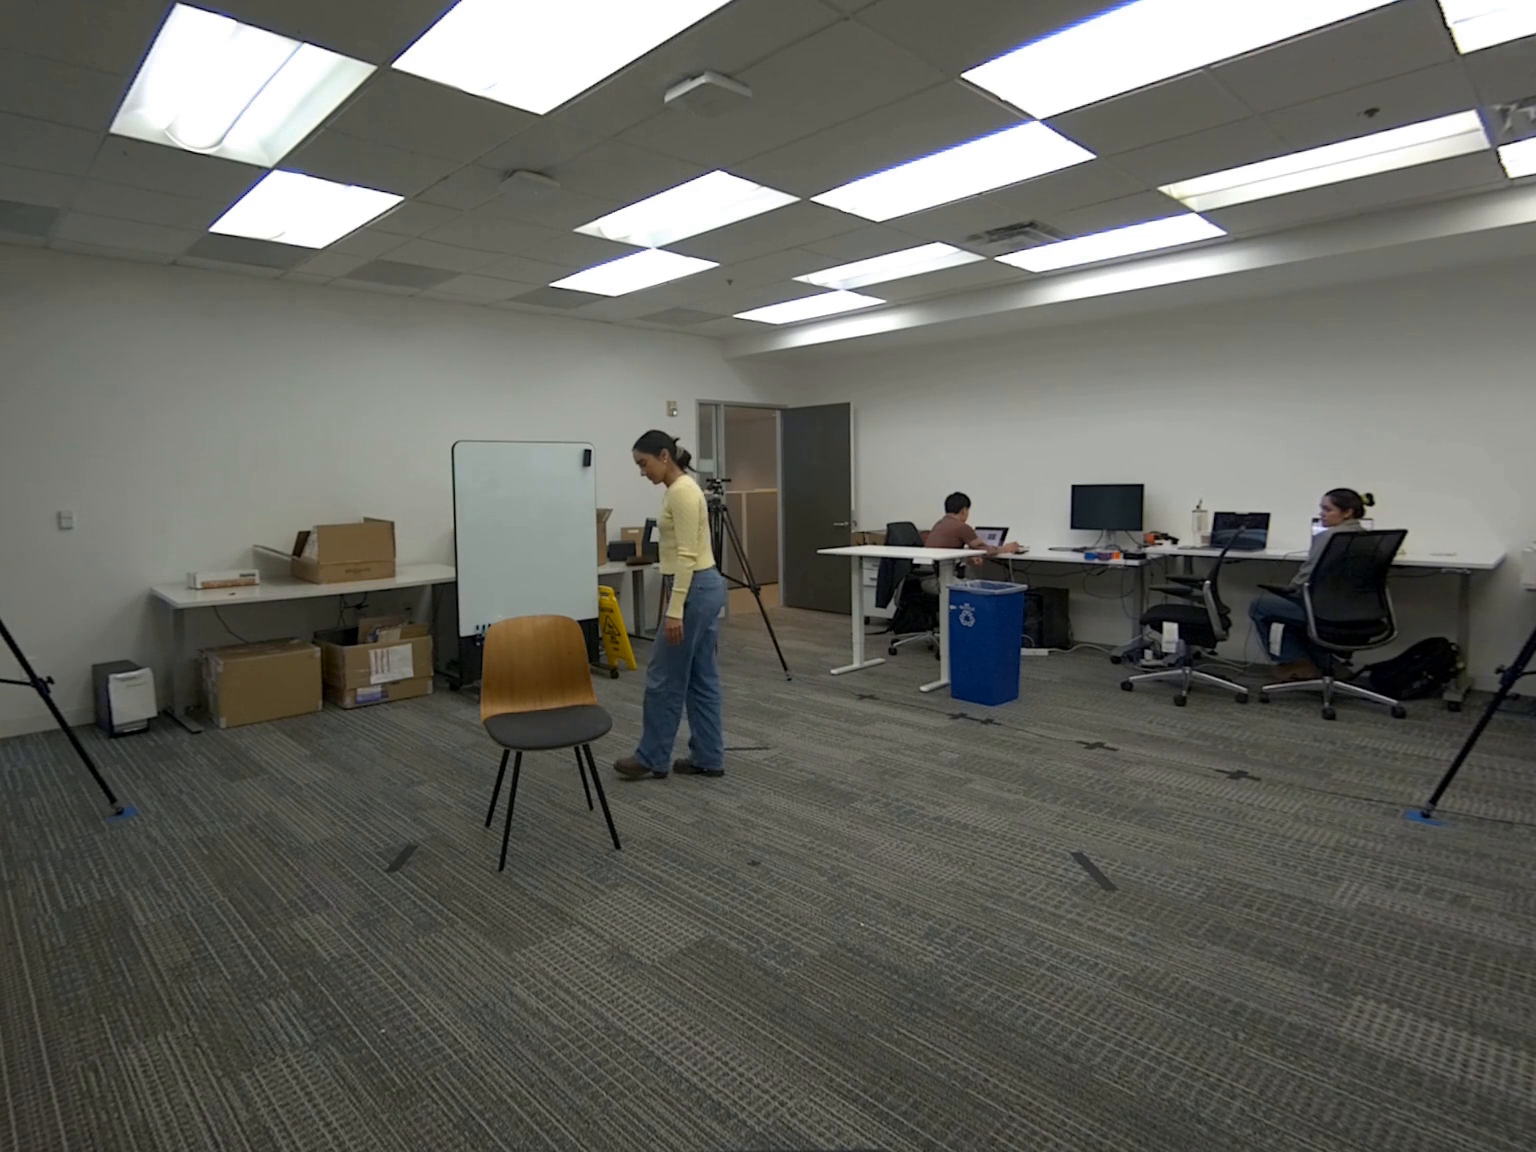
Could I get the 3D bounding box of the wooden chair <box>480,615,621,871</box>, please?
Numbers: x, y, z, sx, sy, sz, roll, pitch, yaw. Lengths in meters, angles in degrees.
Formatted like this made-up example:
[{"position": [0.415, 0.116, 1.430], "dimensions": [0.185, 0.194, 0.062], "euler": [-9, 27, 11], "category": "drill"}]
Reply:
[{"position": [-0.860, 0.608, 3.325], "dimensions": [0.469, 0.878, 0.533], "euler": [-2, 0, -23], "category": "wooden chair"}]
